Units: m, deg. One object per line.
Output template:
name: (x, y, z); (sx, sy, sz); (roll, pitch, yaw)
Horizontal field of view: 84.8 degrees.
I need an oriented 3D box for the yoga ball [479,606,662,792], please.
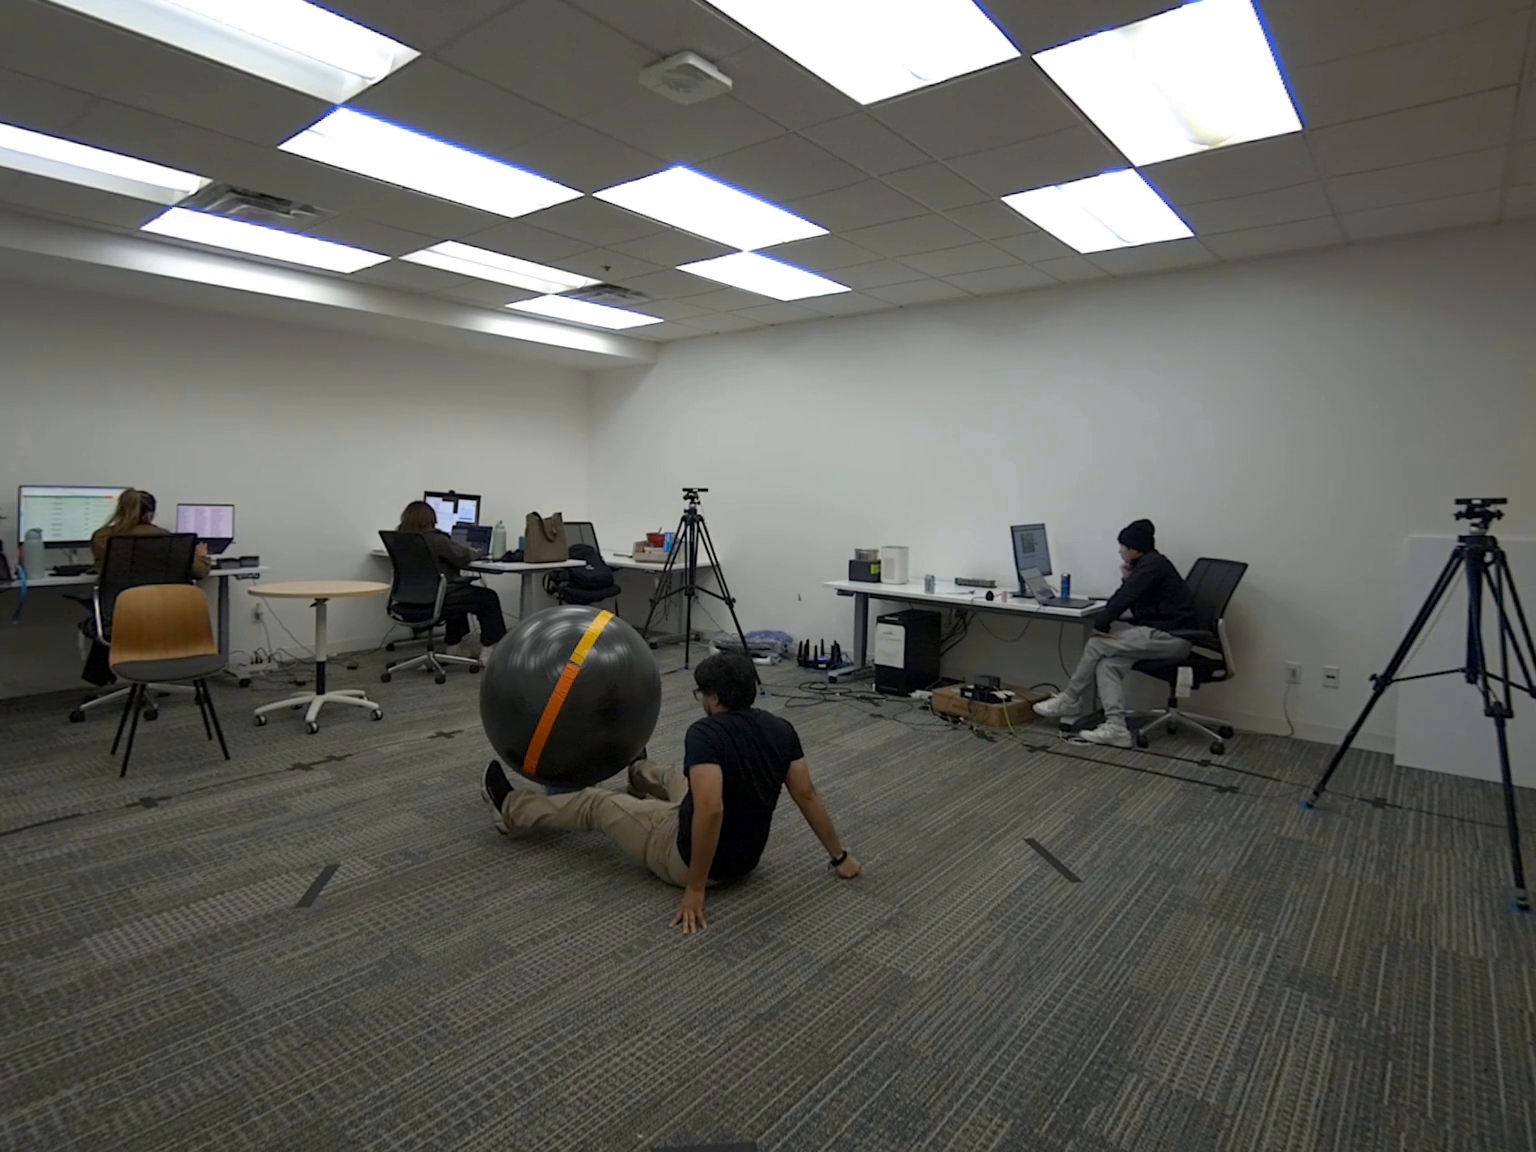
yoga ball: (-0.846, 0.504, 3.595); (0.757, 0.755, 0.762); (1, 4, -2)
